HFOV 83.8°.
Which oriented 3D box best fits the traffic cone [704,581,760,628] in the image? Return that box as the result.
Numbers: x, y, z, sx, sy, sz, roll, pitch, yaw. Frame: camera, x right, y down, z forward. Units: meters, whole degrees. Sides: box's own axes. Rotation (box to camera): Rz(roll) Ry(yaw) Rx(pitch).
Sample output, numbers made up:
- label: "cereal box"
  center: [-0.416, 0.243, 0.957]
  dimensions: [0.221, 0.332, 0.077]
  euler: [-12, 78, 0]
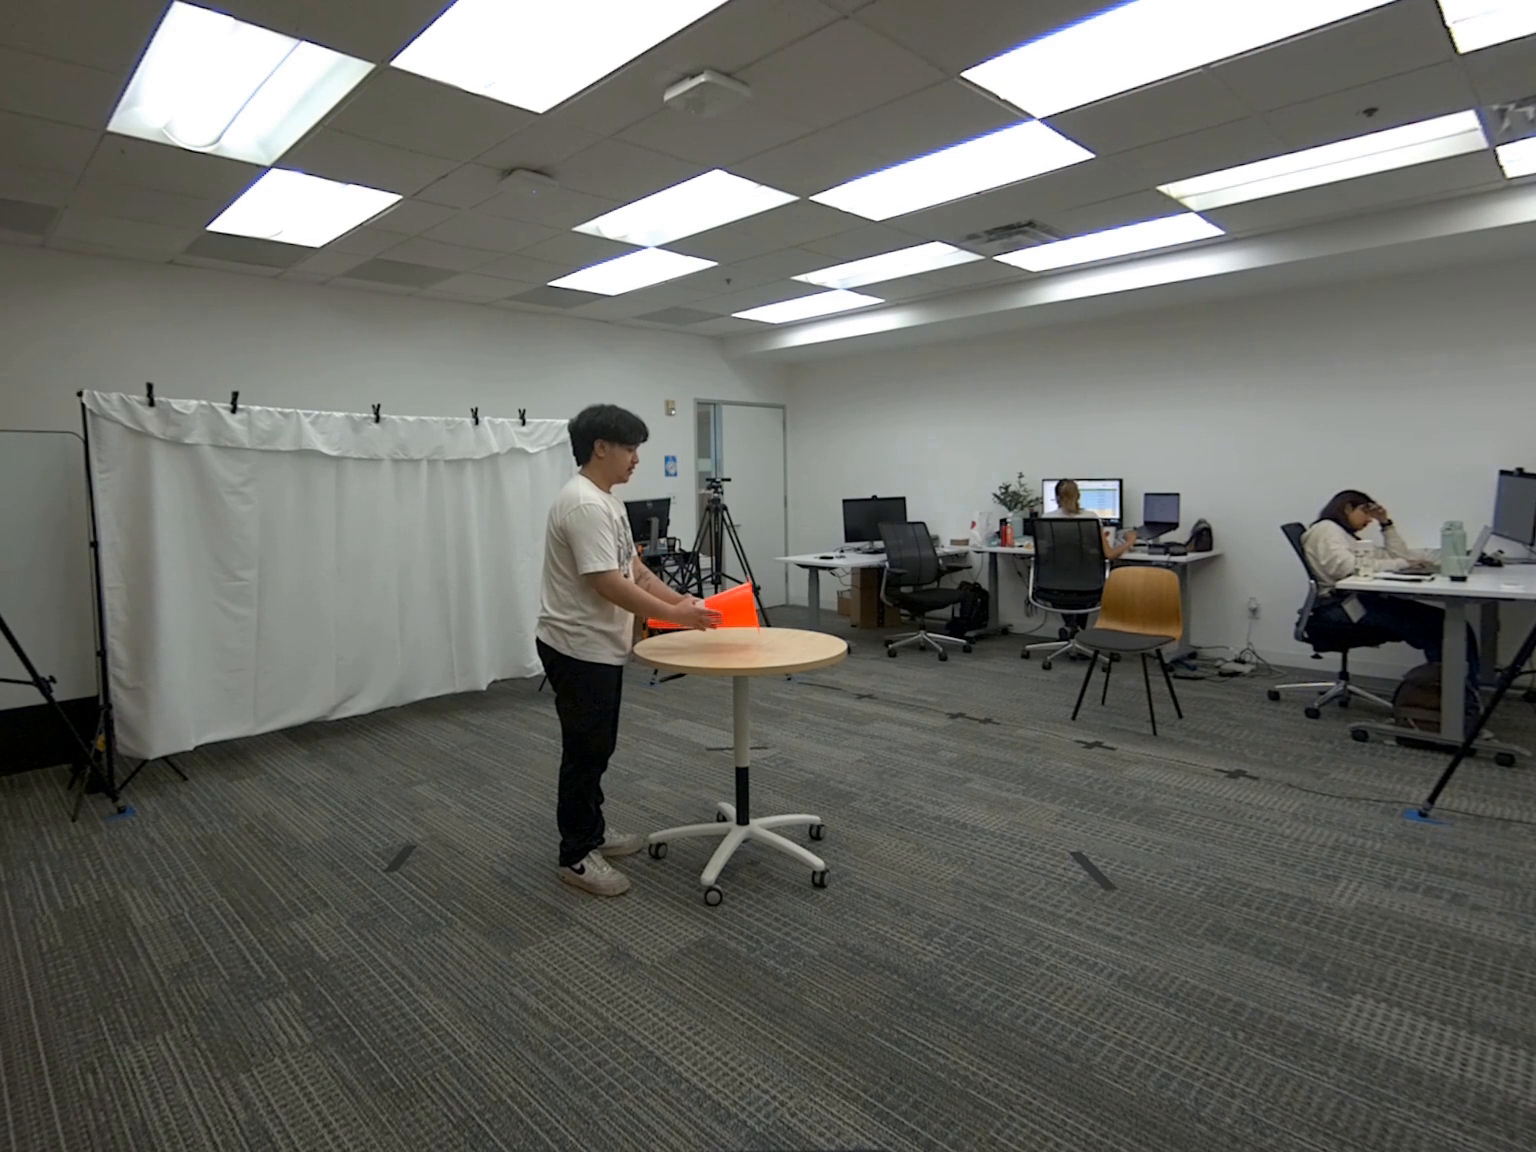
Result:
- label: "traffic cone"
  center: [-0.238, 0.137, 3.037]
  dimensions: [0.386, 0.201, 0.206]
  euler: [-9, 10, 6]
